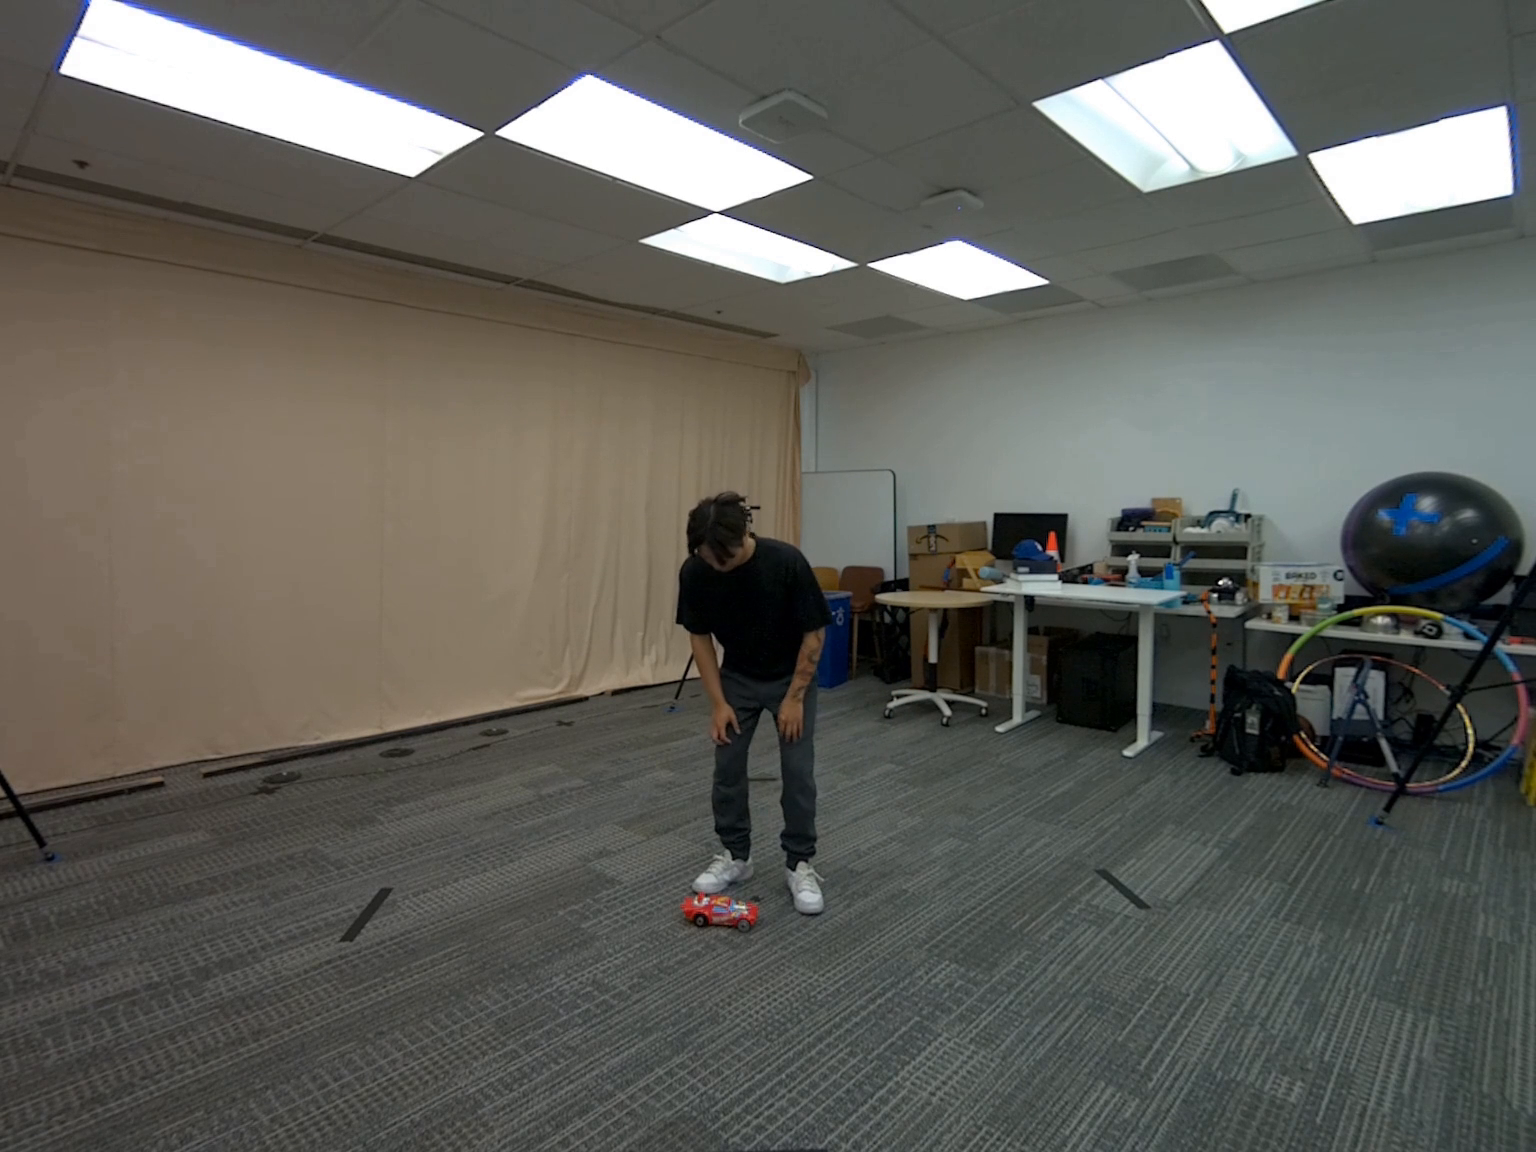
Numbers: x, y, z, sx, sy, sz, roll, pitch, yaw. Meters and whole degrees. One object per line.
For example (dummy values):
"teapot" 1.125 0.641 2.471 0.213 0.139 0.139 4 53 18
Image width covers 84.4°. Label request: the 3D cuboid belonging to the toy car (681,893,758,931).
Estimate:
"toy car" -0.163 1.129 2.820 0.258 0.083 0.129 11 6 11
